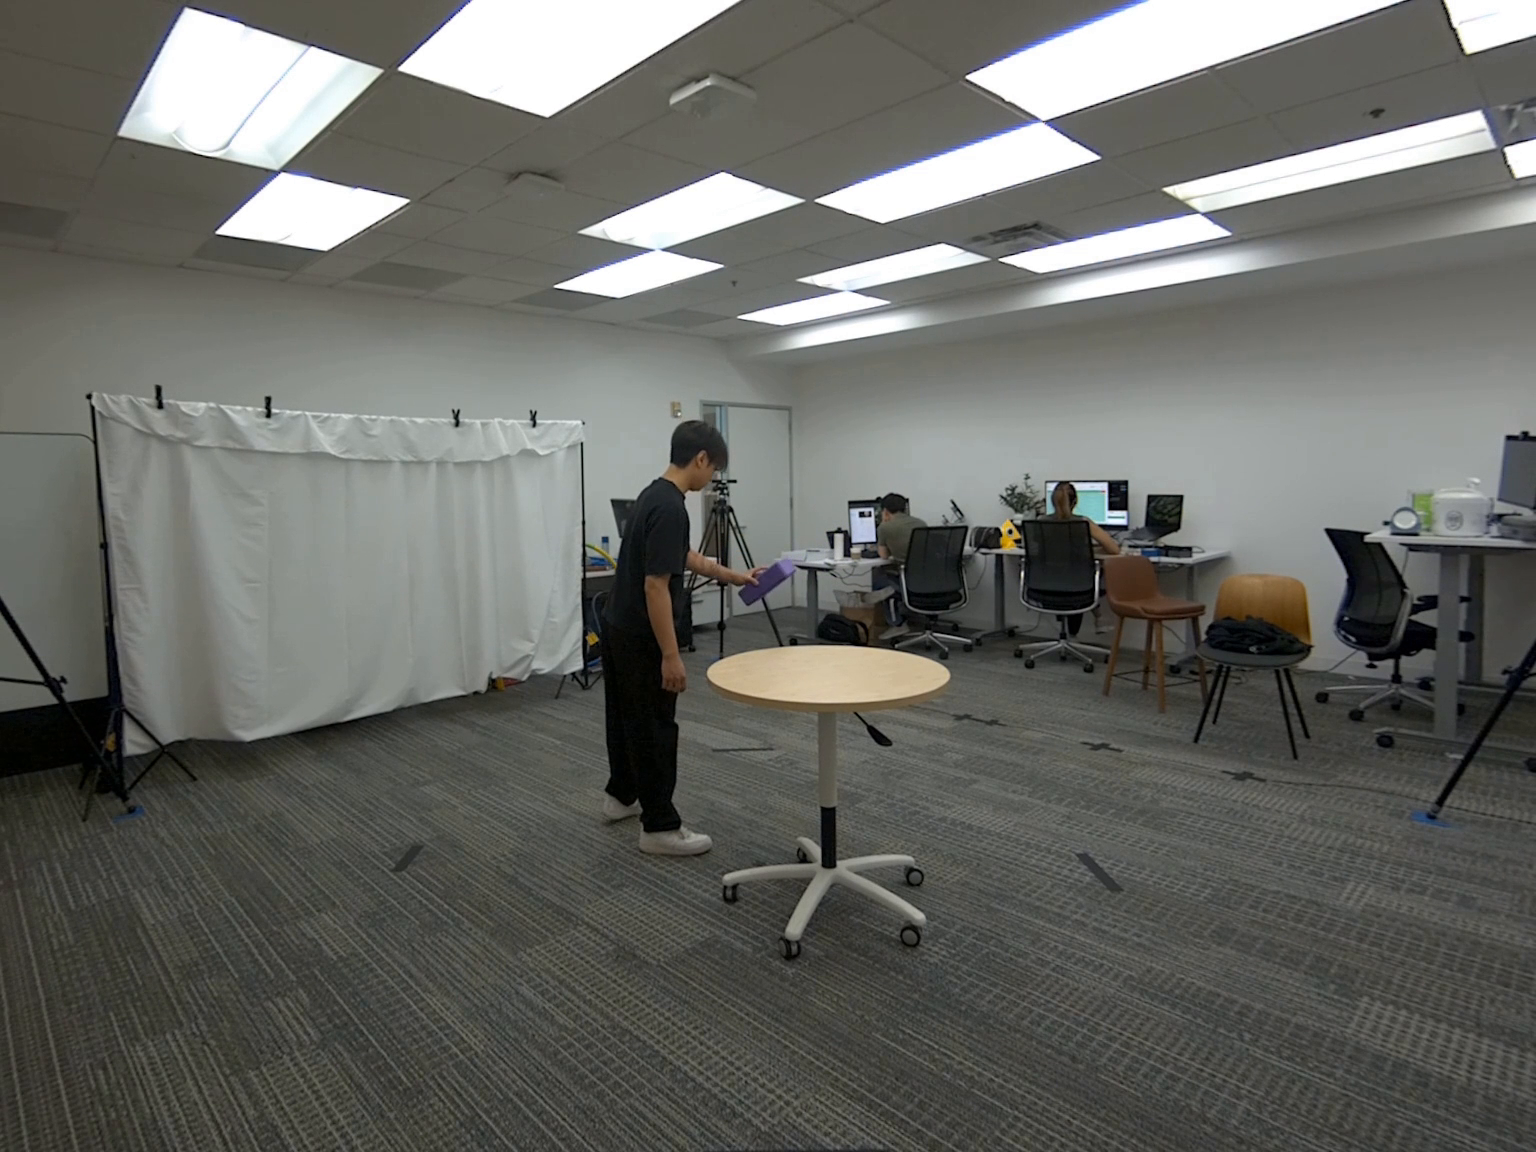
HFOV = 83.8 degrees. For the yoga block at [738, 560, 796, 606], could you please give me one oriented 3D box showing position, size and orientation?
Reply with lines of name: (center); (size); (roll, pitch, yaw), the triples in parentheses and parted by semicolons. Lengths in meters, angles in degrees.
yoga block: (-0.002, 0.027, 3.617); (0.230, 0.077, 0.147); (-39, -6, 21)
